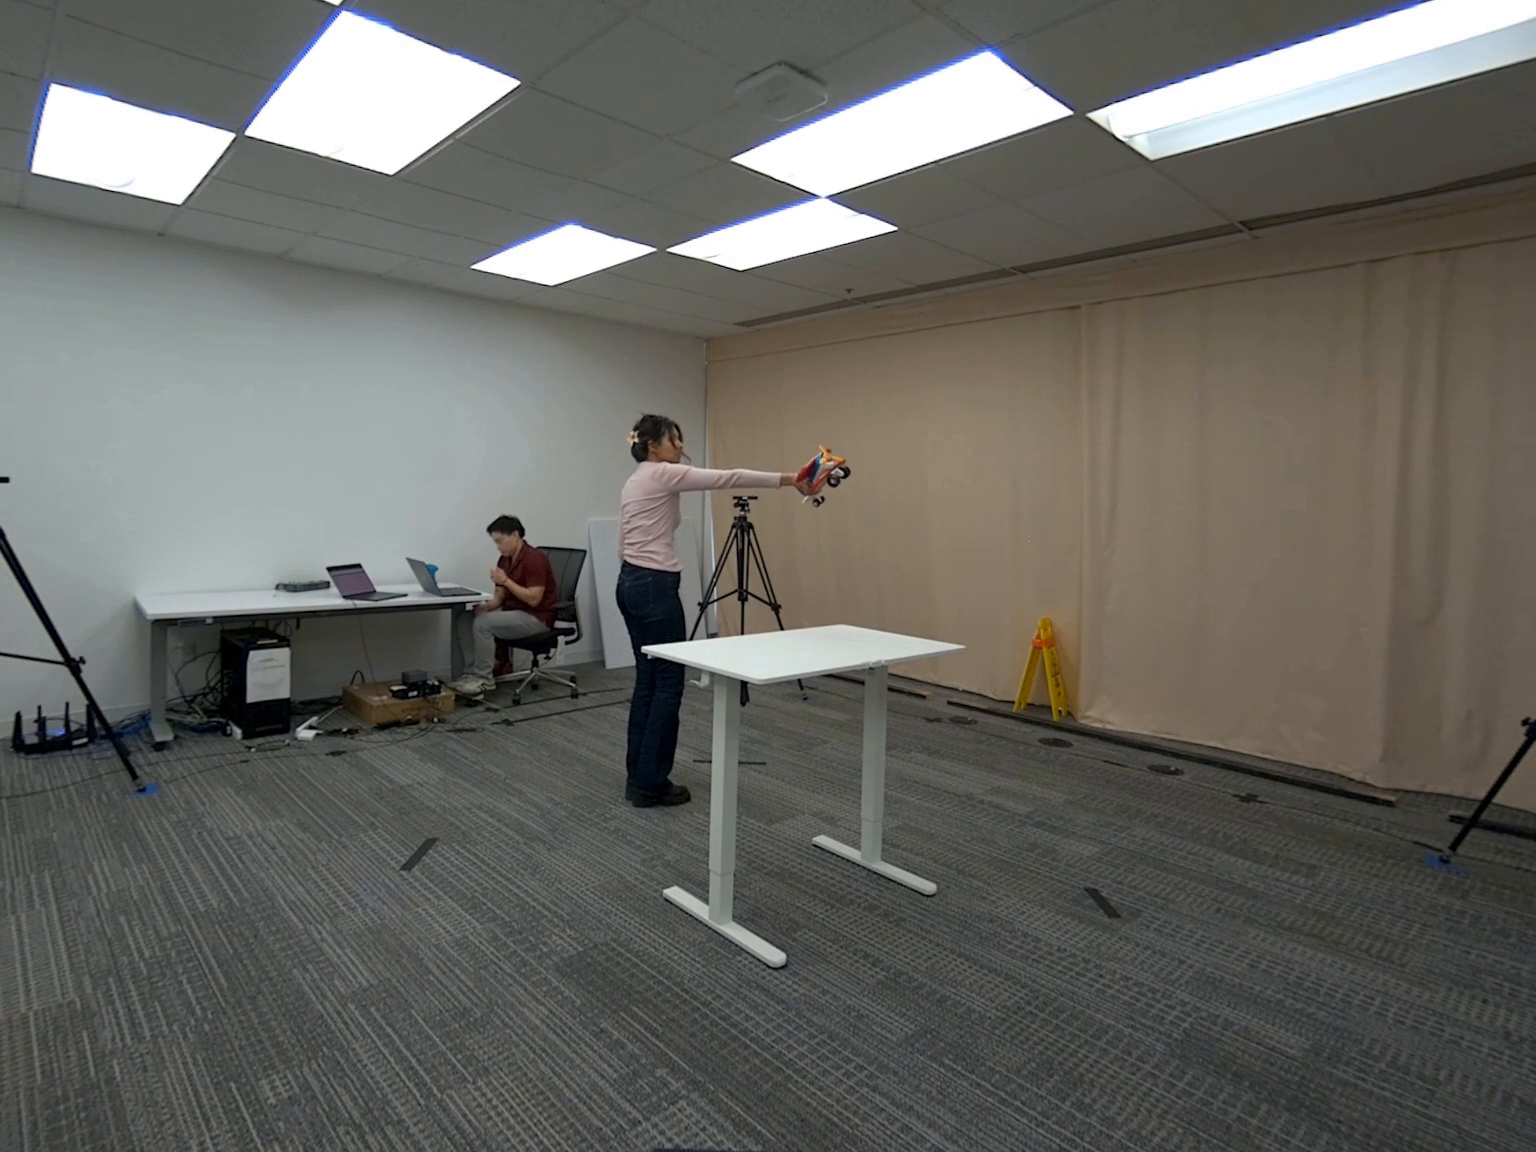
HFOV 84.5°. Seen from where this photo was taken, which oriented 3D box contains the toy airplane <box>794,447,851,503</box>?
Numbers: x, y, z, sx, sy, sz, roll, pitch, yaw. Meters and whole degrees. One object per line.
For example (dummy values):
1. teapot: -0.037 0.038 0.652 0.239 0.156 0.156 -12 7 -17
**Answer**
1. toy airplane: 0.206 -0.401 3.541 0.259 0.157 0.250 -45 -3 20
